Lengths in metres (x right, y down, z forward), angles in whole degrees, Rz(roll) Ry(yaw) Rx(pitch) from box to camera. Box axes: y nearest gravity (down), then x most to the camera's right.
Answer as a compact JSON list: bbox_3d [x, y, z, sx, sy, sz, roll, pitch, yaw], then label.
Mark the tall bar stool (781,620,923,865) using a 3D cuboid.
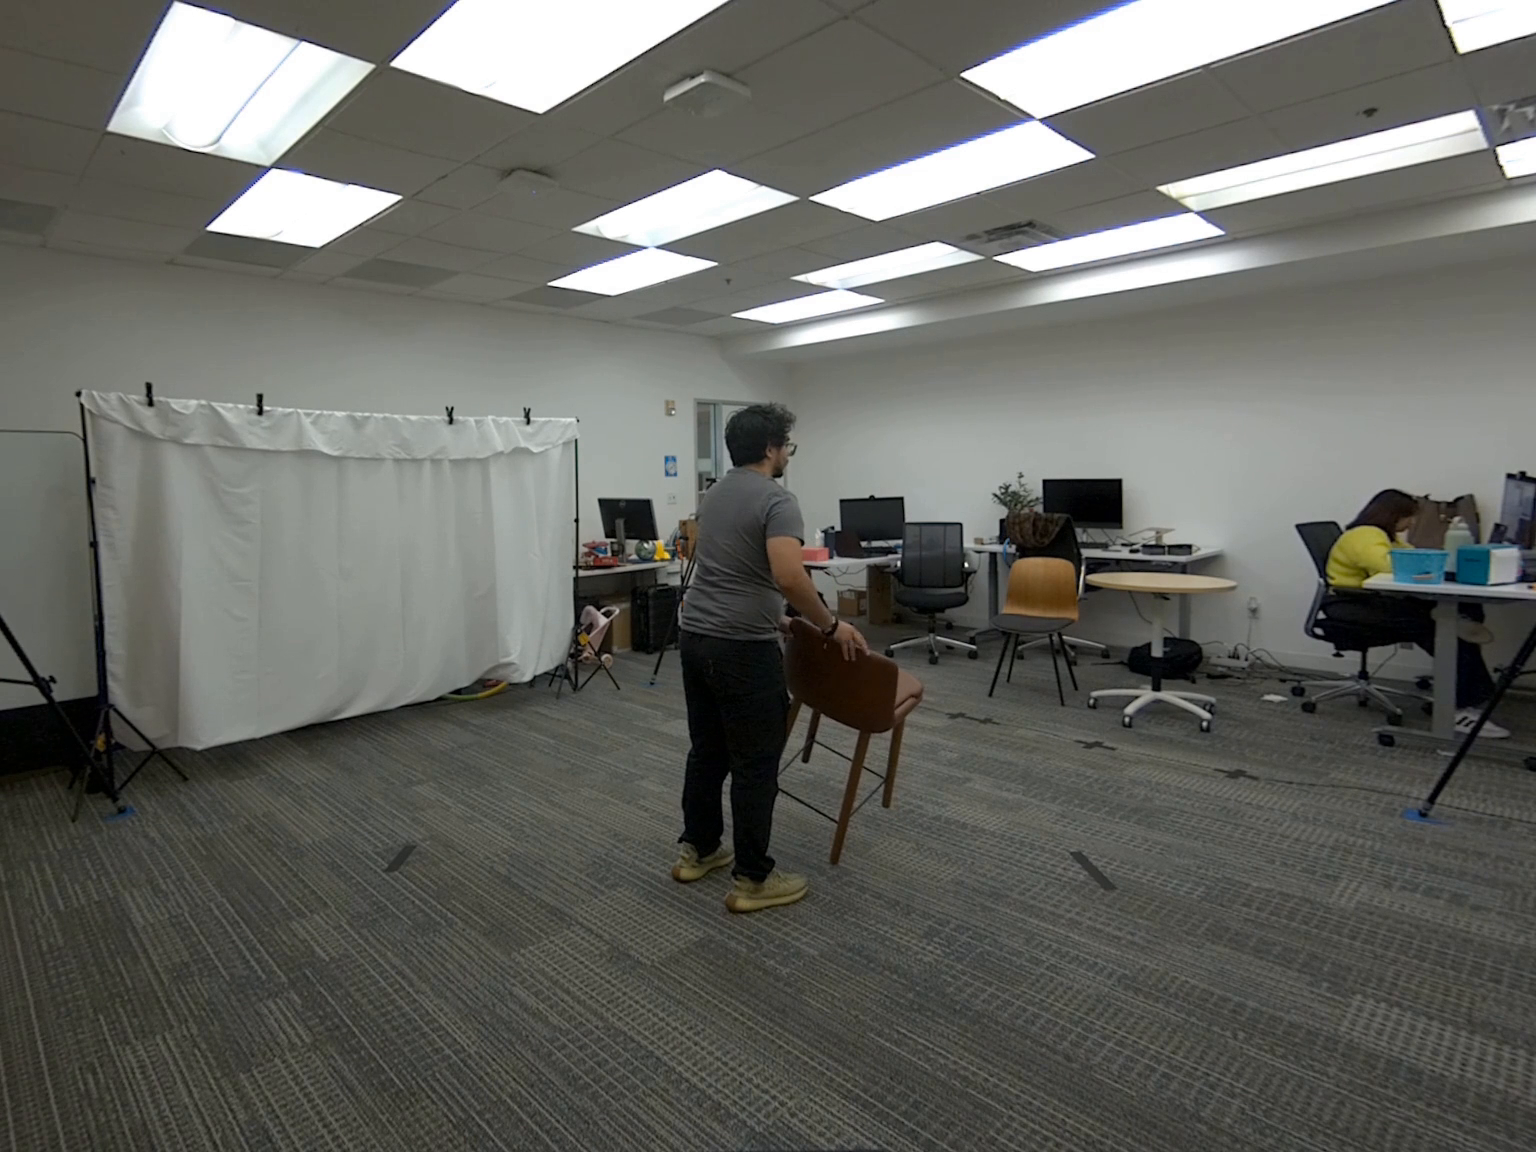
[{"bbox_3d":[0.275,0.529,3.171,0.471,0.875,0.461,23,28,27],"label":"tall bar stool"}]
